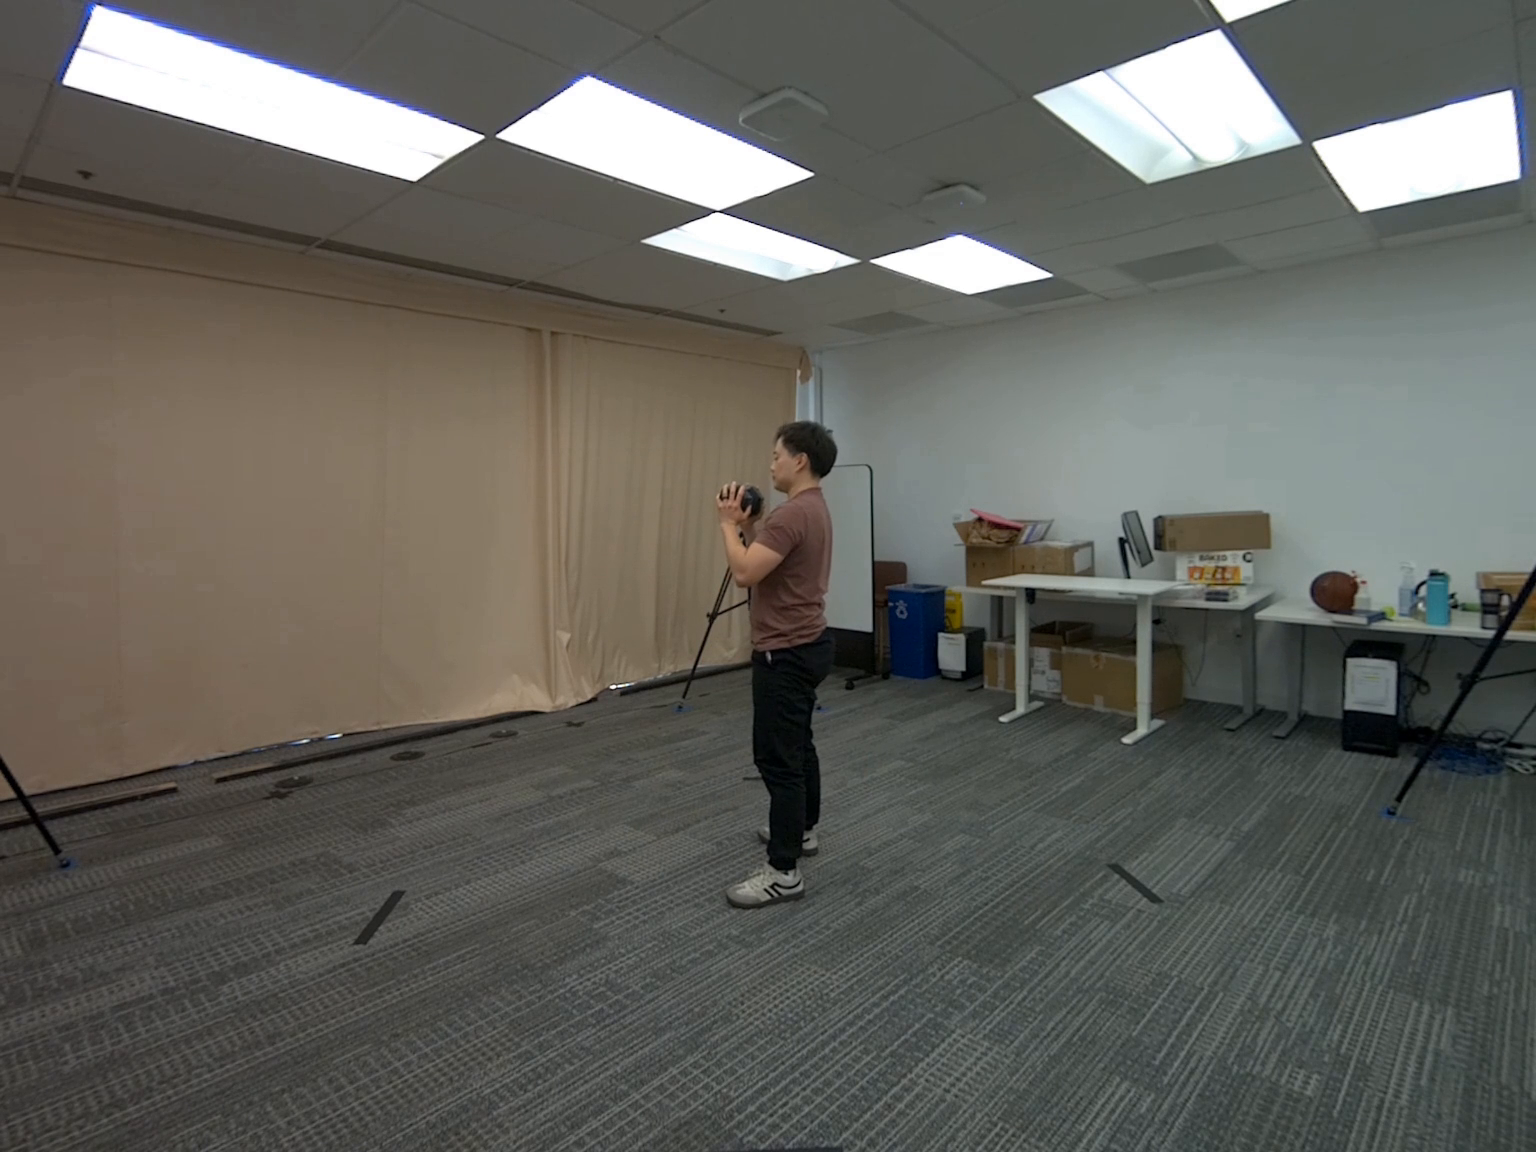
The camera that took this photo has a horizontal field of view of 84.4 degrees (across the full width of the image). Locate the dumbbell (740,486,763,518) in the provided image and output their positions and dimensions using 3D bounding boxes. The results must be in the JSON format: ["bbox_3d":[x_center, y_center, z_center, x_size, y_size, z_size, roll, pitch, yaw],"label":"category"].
[{"bbox_3d":[-0.082,-0.276,3.162,0.109,0.123,0.292,-39,0,10],"label":"dumbbell"}]
